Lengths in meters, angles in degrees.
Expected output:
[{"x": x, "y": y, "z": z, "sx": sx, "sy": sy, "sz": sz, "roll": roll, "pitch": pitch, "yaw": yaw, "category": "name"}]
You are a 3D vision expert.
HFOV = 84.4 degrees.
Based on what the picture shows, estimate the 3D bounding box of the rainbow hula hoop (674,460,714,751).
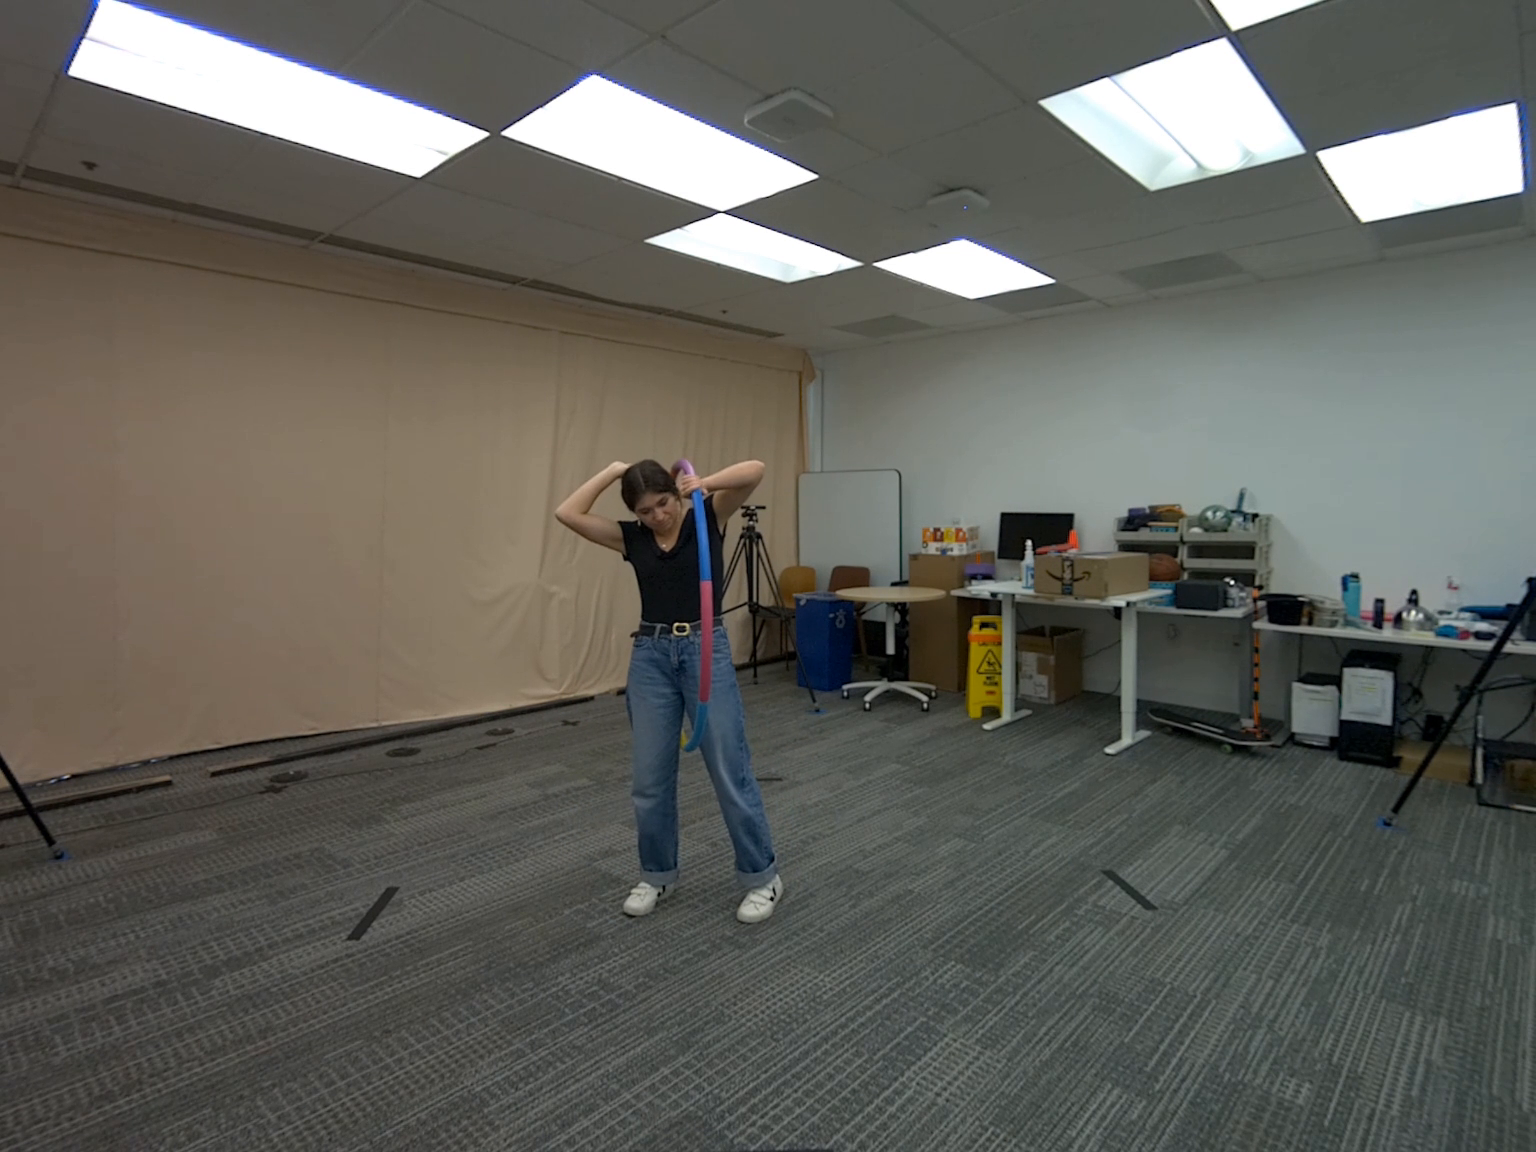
[{"x": -0.299, "y": 0.088, "z": 2.902, "sx": 0.035, "sy": 0.976, "sz": 0.993, "roll": -1, "pitch": 4, "yaw": -13, "category": "rainbow hula hoop"}]
